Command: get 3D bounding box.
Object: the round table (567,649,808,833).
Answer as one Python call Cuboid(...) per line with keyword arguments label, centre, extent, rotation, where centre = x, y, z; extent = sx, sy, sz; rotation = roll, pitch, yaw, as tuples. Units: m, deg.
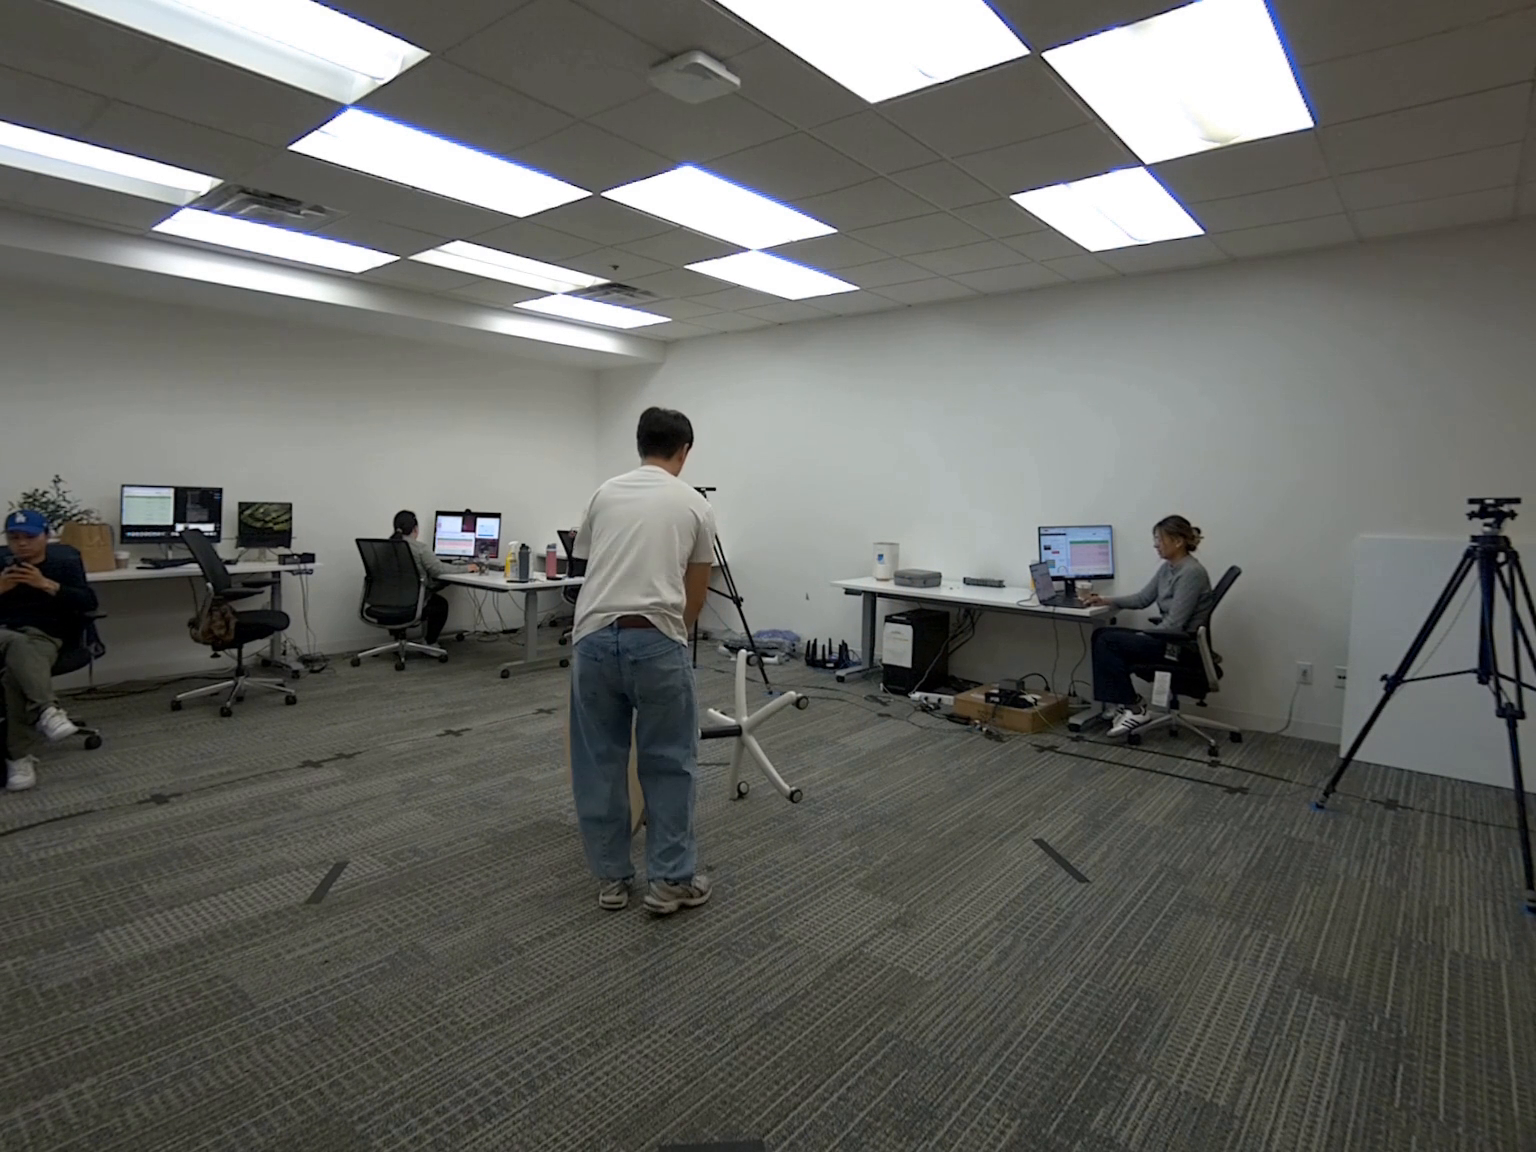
Cuboid(label="round table", centre=(-0.341, 0.669, 3.558), extent=(0.769, 0.763, 0.789), rotation=(3, 2, -36))
